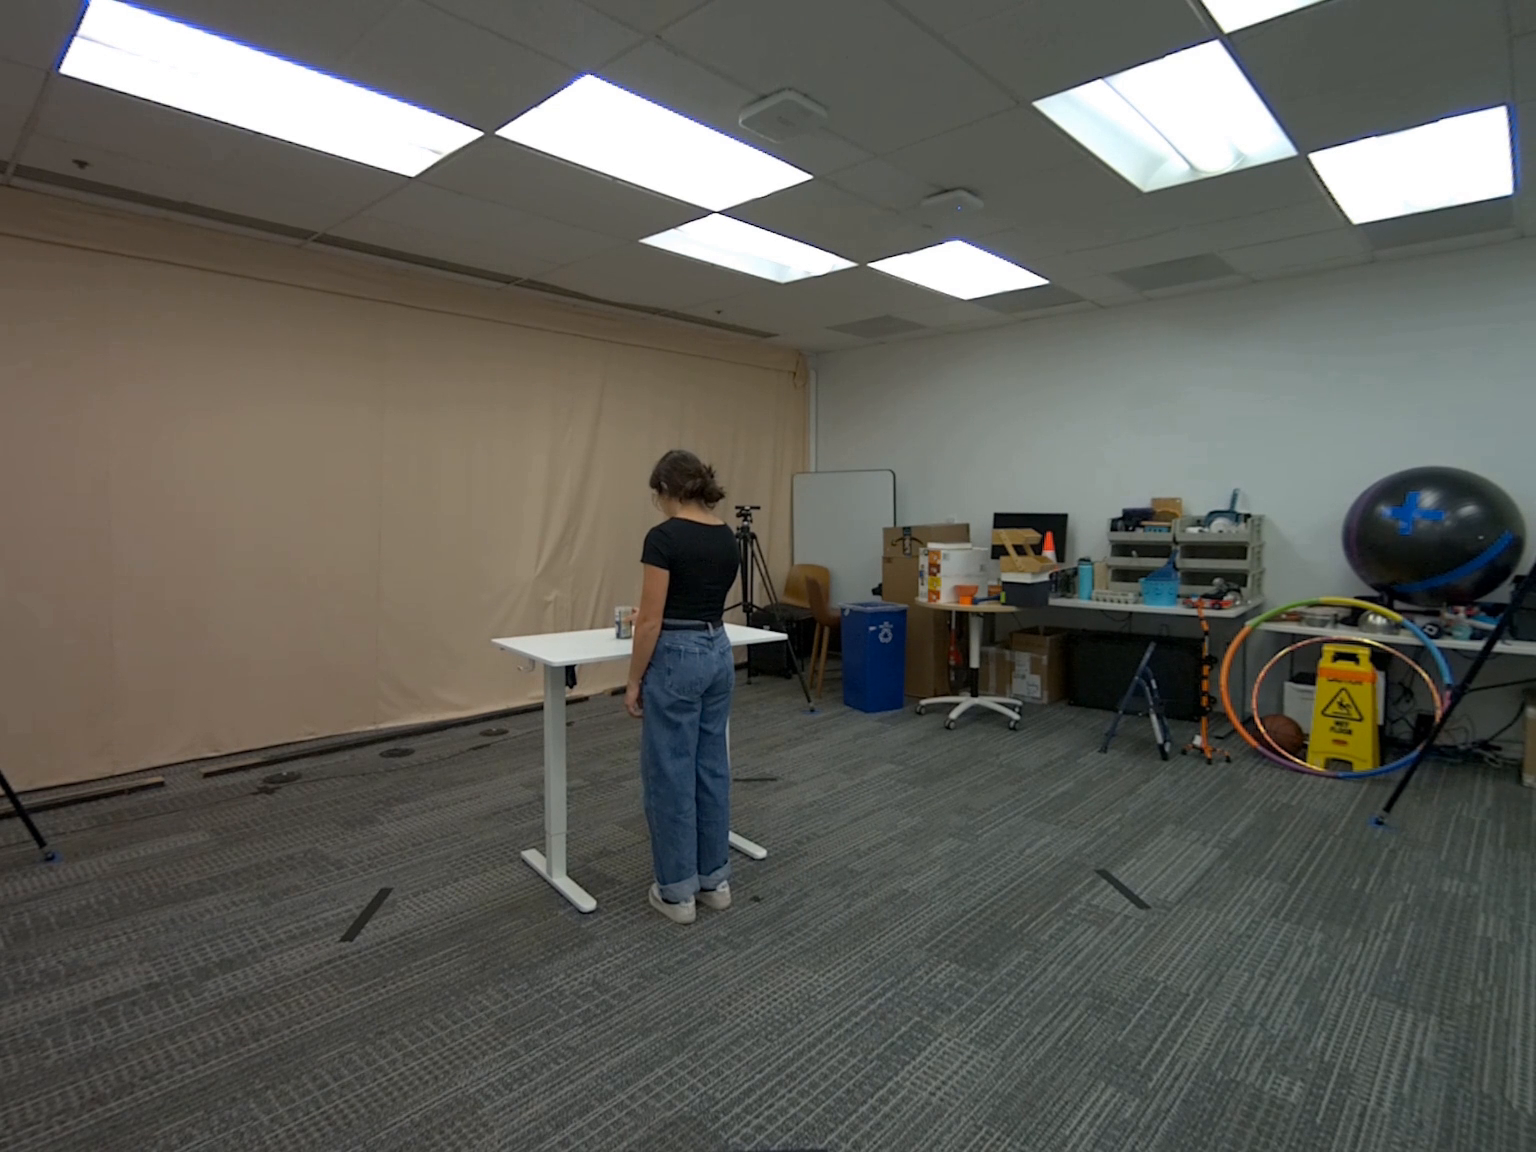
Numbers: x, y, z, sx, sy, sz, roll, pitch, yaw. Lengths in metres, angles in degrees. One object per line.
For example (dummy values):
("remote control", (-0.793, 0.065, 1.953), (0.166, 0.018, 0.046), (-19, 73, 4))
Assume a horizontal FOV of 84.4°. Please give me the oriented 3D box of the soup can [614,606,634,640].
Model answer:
("soup can", (-0.565, 0.182, 3.285), (0.067, 0.121, 0.067), (1, -1, -2))
